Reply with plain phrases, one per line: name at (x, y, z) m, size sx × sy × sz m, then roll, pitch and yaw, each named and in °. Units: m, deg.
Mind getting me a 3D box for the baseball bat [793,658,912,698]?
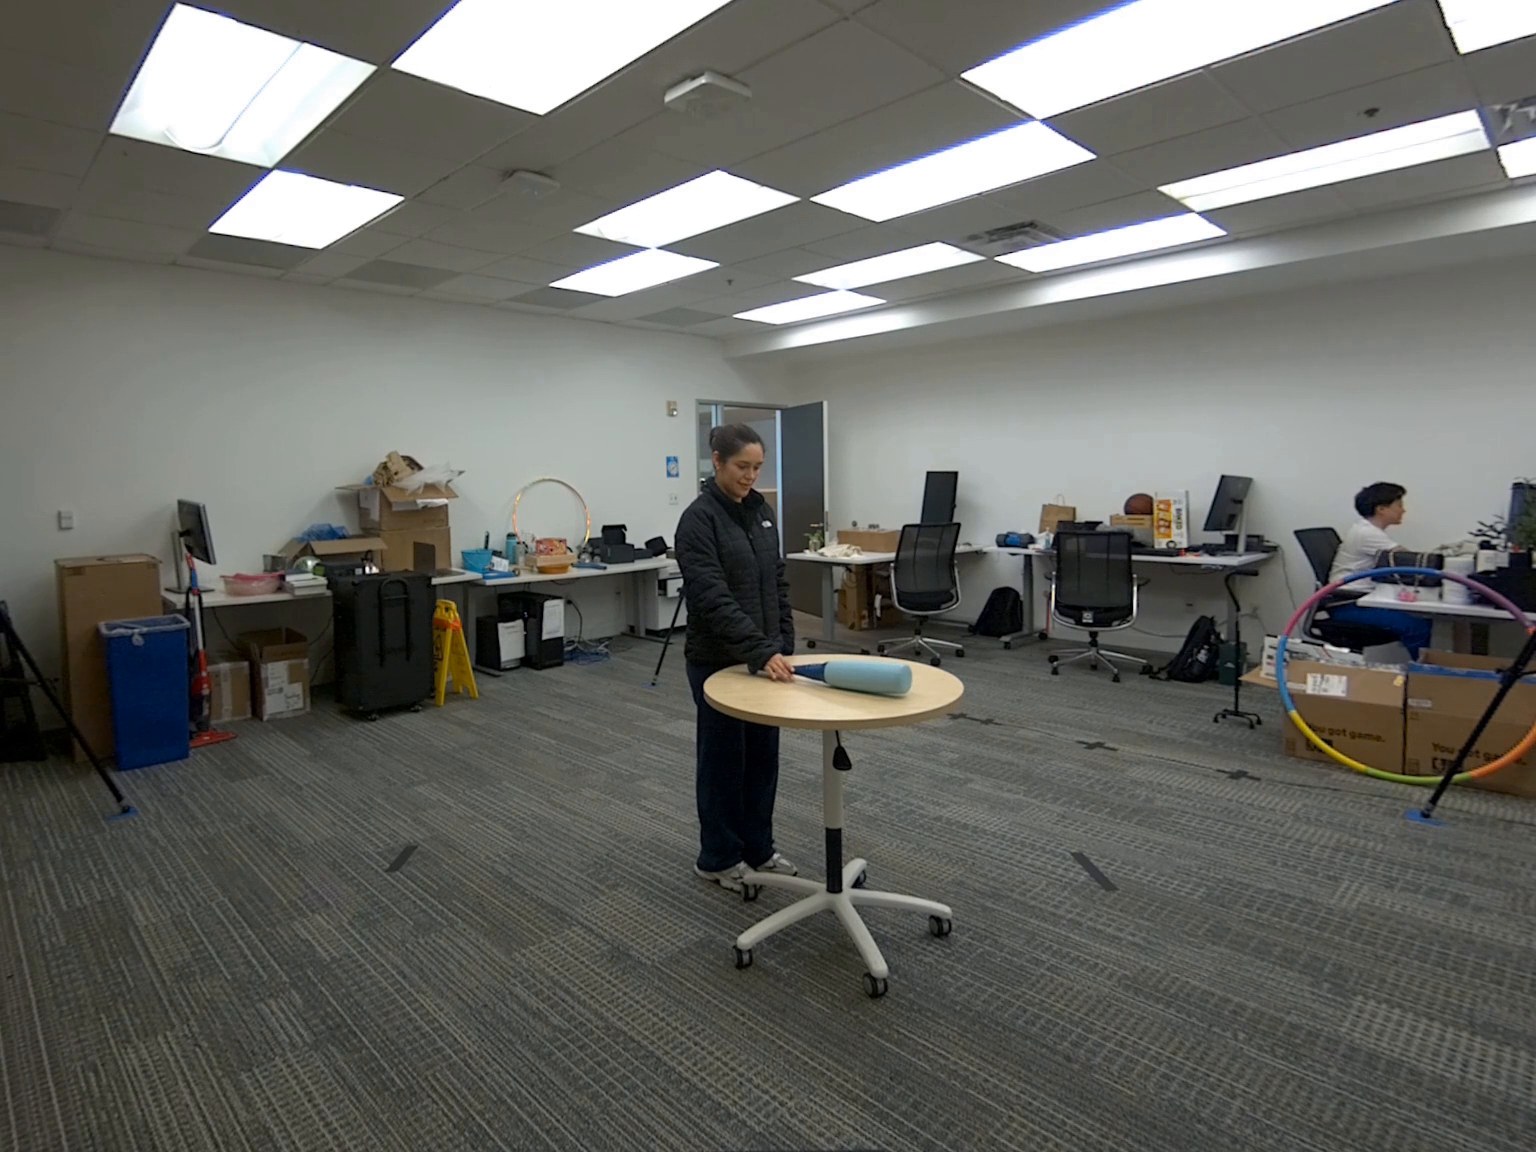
baseball bat at (0.158, 0.289, 2.541) m, size 0.558 × 0.089 × 0.087 m, roll -1°, pitch 4°, yaw 37°
